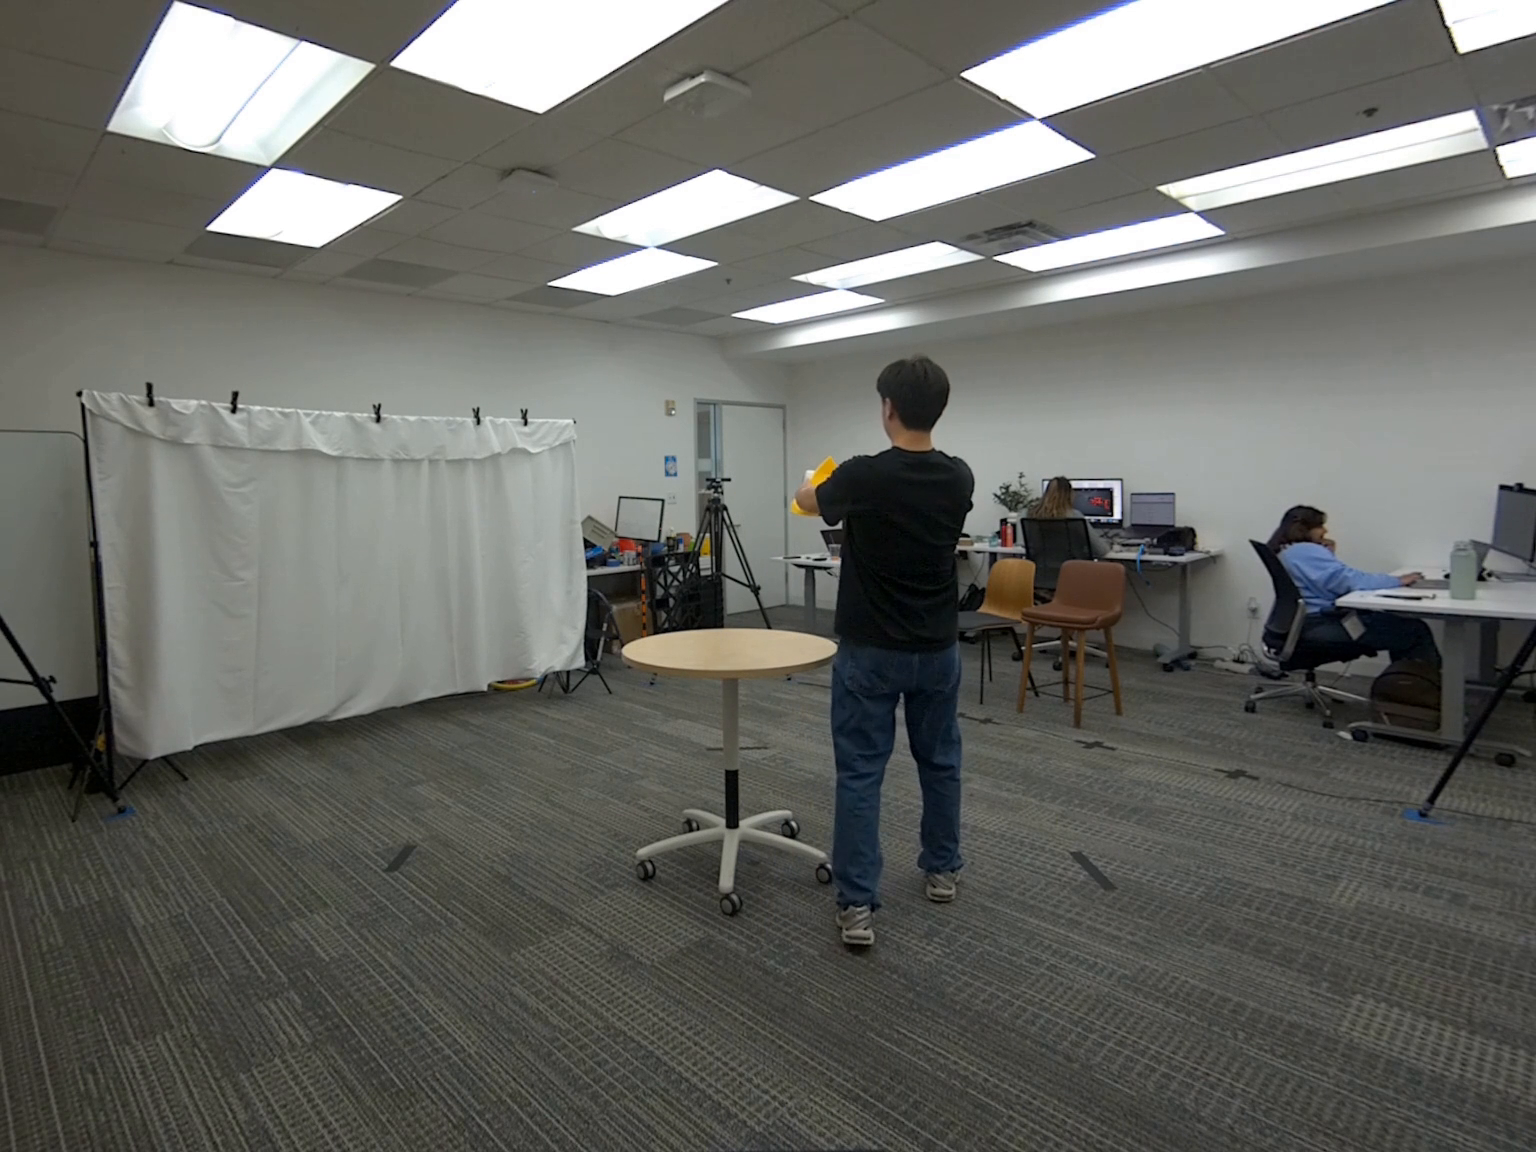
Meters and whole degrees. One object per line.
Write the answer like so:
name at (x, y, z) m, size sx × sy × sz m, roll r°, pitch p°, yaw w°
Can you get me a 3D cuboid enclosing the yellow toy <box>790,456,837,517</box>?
yellow toy at (0.212, -0.354, 3.302) m, size 0.201 × 0.229 × 0.198 m, roll 2°, pitch 10°, yaw -19°
